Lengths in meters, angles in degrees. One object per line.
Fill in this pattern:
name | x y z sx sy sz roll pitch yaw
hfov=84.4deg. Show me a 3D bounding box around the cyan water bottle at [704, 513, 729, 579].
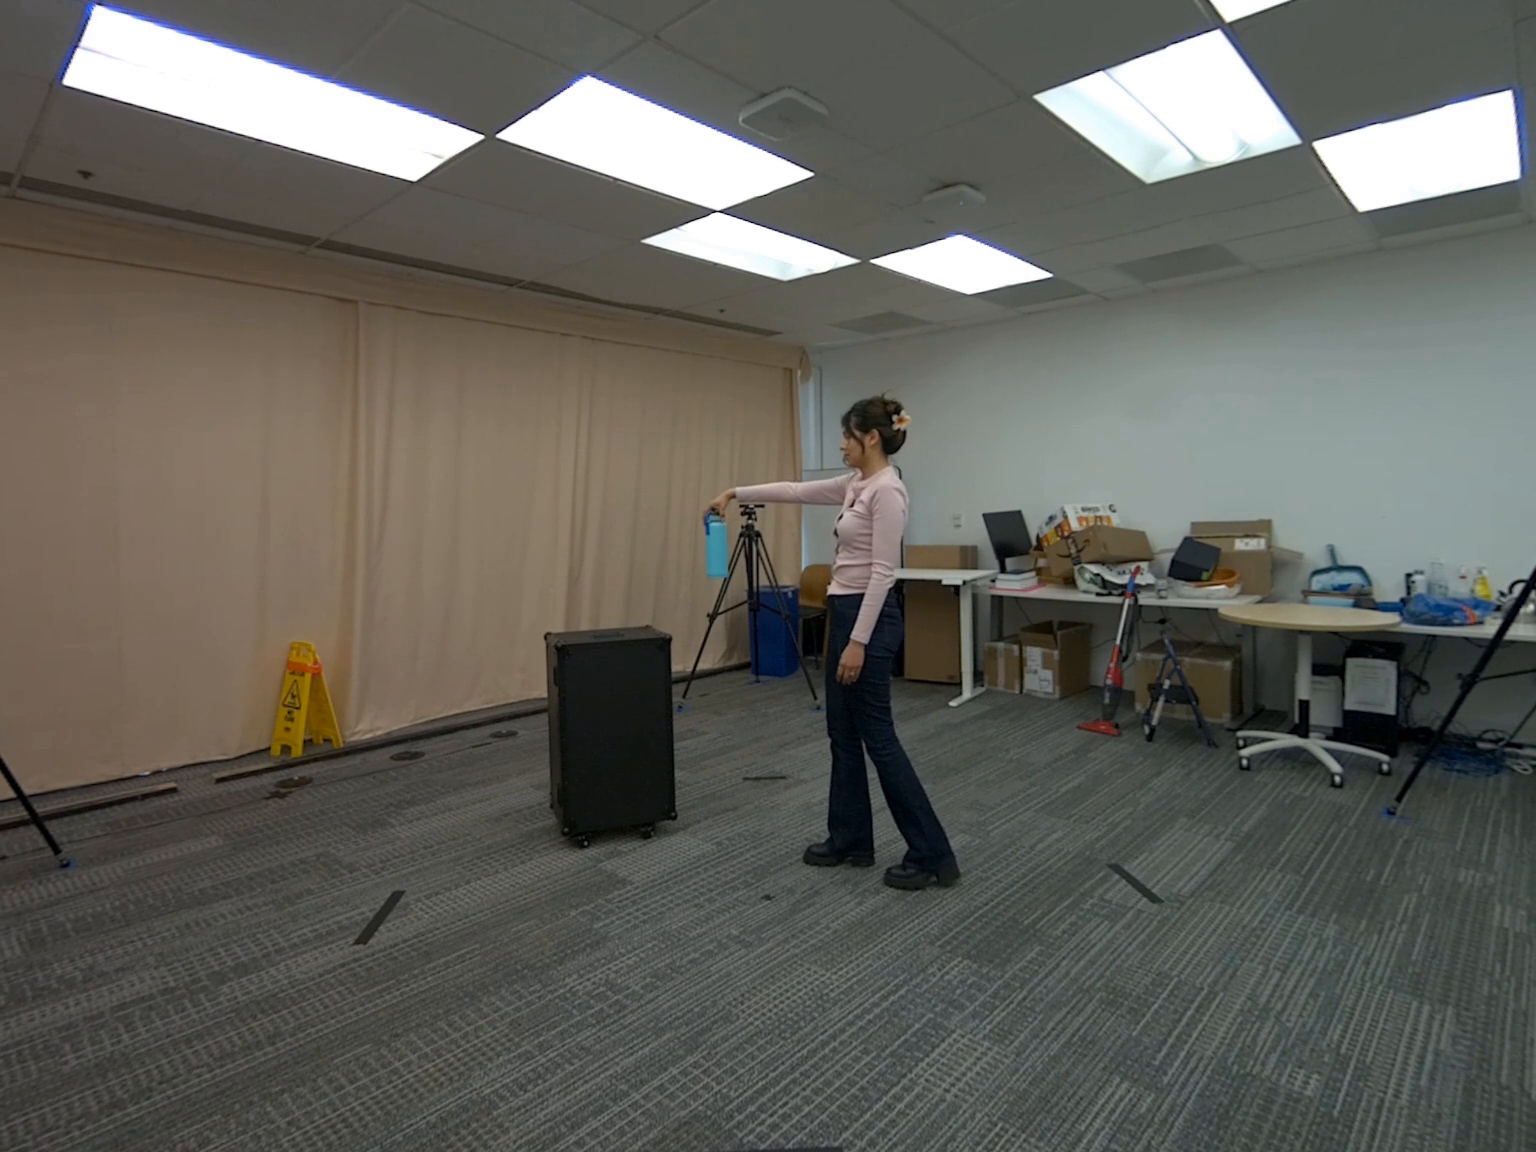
cyan water bottle | -0.210 -0.137 3.471 0.092 0.282 0.093 -2 4 -2
